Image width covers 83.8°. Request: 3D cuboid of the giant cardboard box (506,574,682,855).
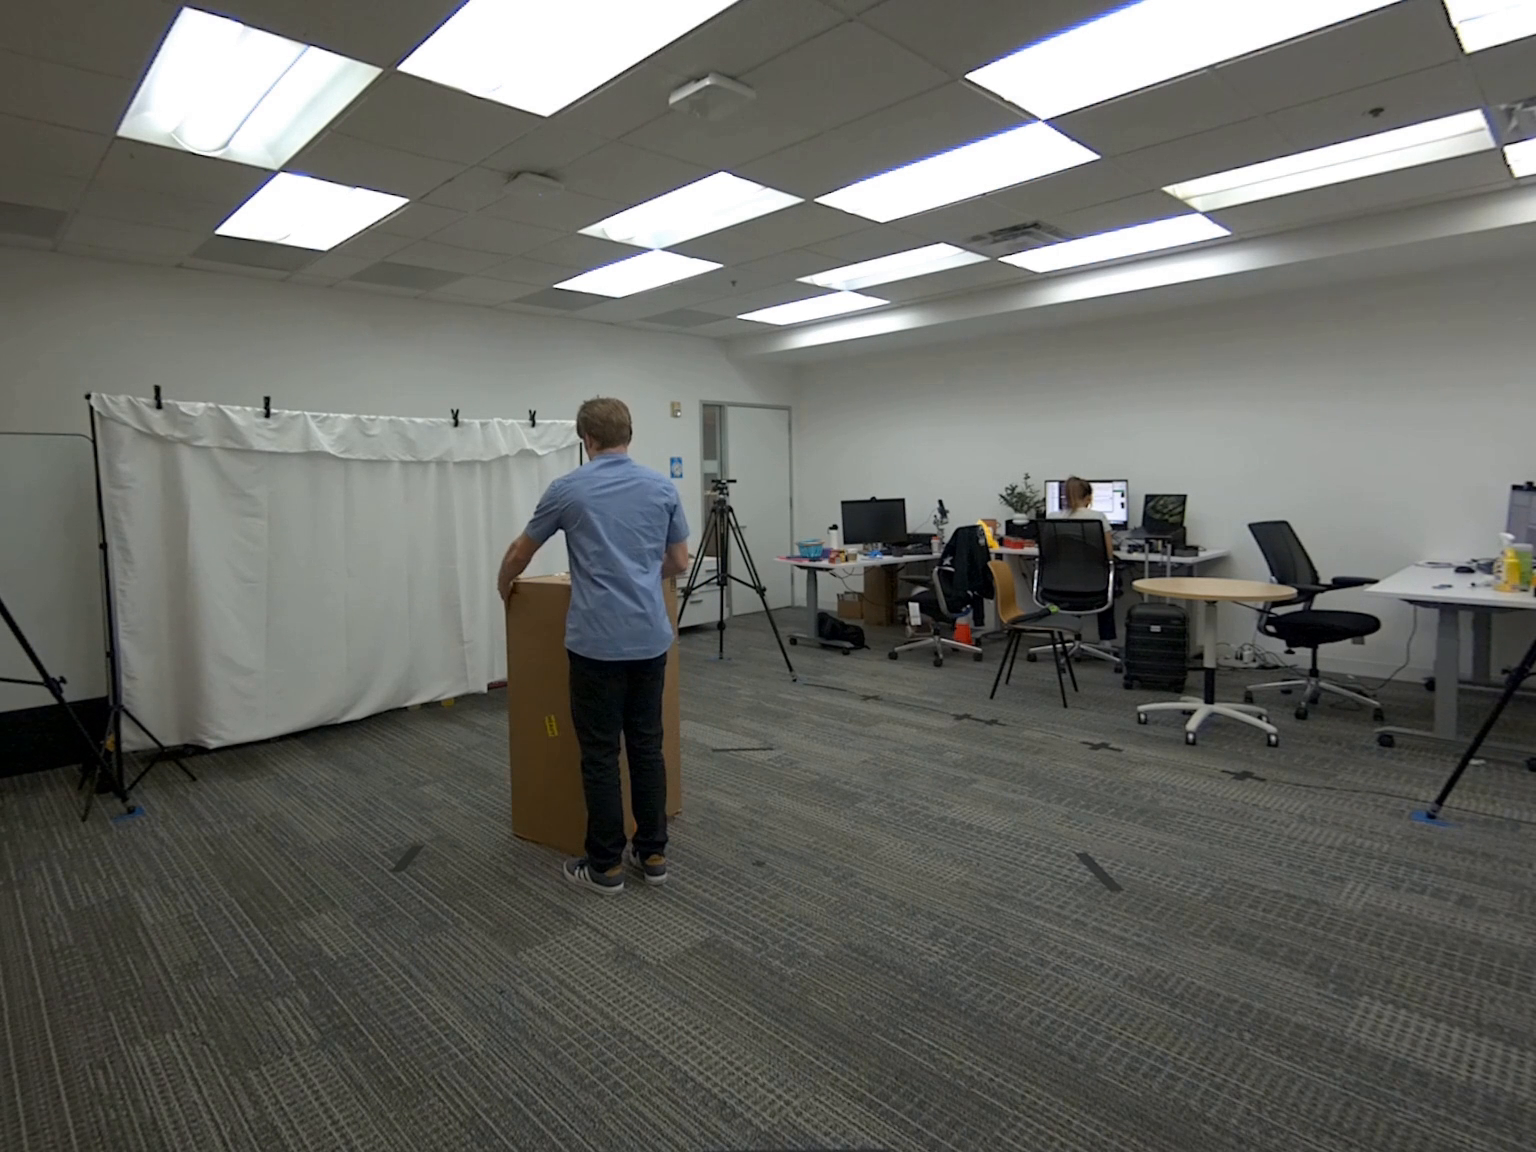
[{"bbox_3d":[-0.702,0.509,3.506,0.438,1.023,0.563,1,4,34],"label":"giant cardboard box"}]
